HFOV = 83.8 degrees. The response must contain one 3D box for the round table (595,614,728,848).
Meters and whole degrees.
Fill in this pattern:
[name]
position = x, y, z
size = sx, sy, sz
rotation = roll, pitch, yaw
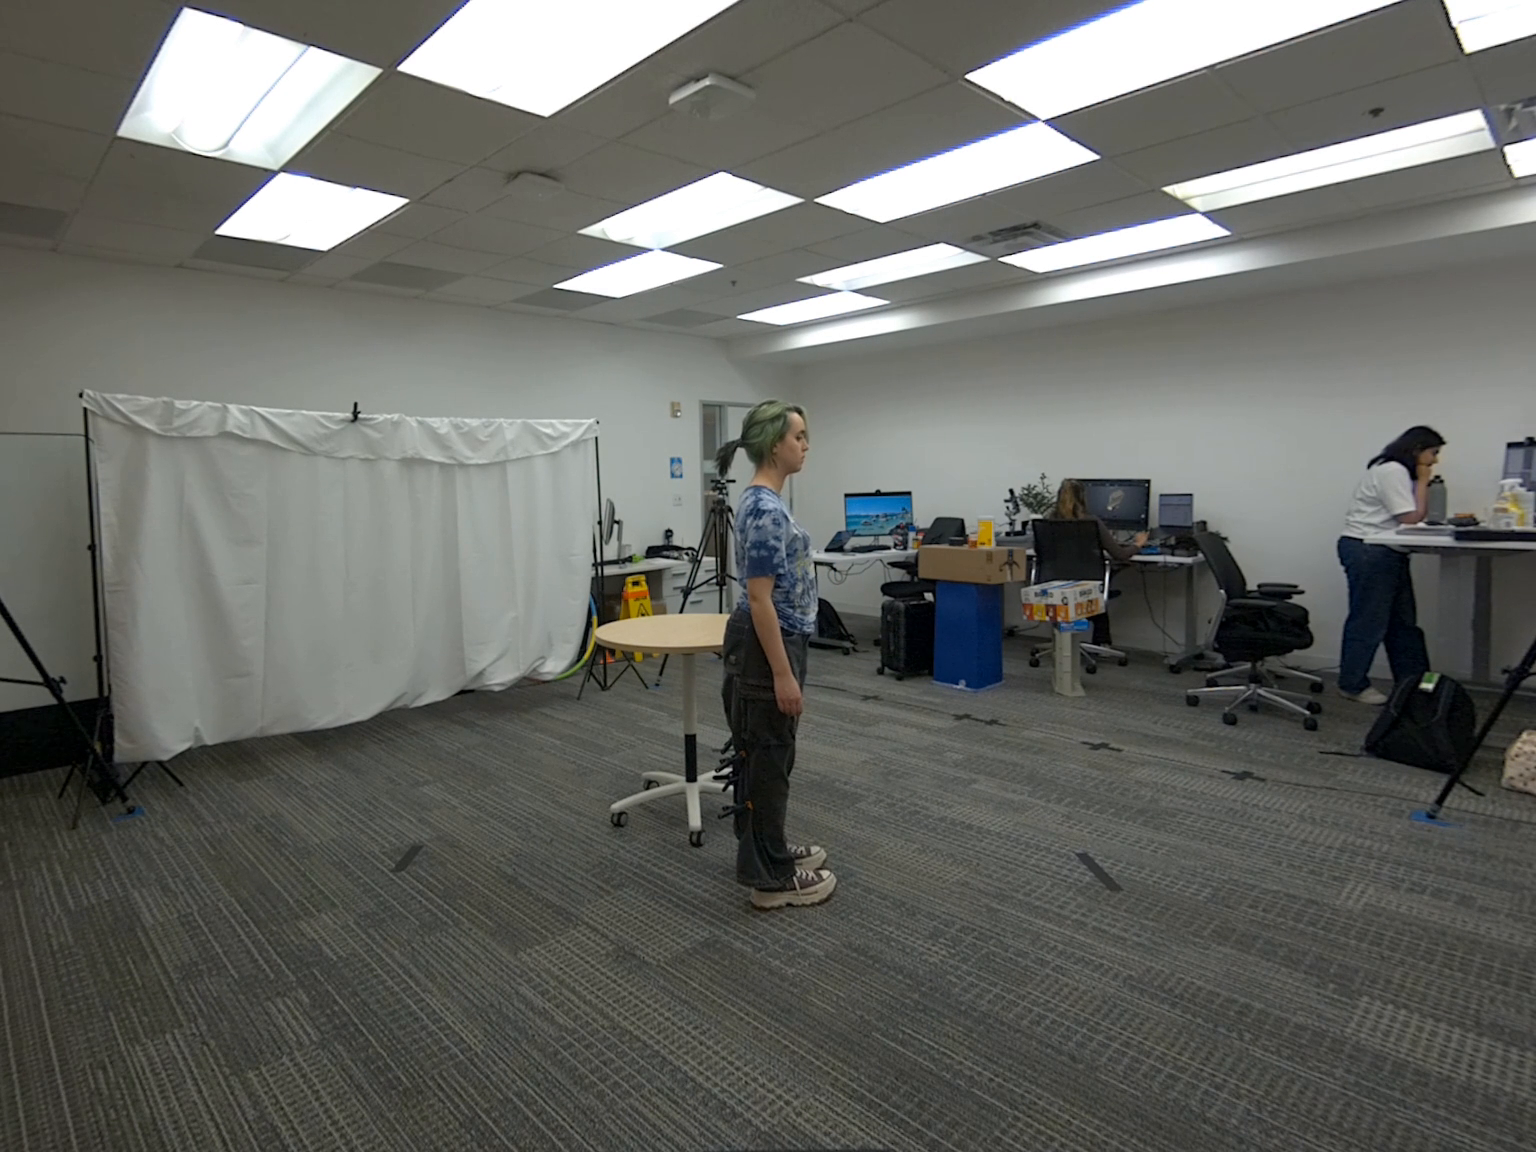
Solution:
[round table]
position = -0.322, 0.611, 3.563
size = 0.763, 0.791, 0.768
rotation = -2, 5, -2
